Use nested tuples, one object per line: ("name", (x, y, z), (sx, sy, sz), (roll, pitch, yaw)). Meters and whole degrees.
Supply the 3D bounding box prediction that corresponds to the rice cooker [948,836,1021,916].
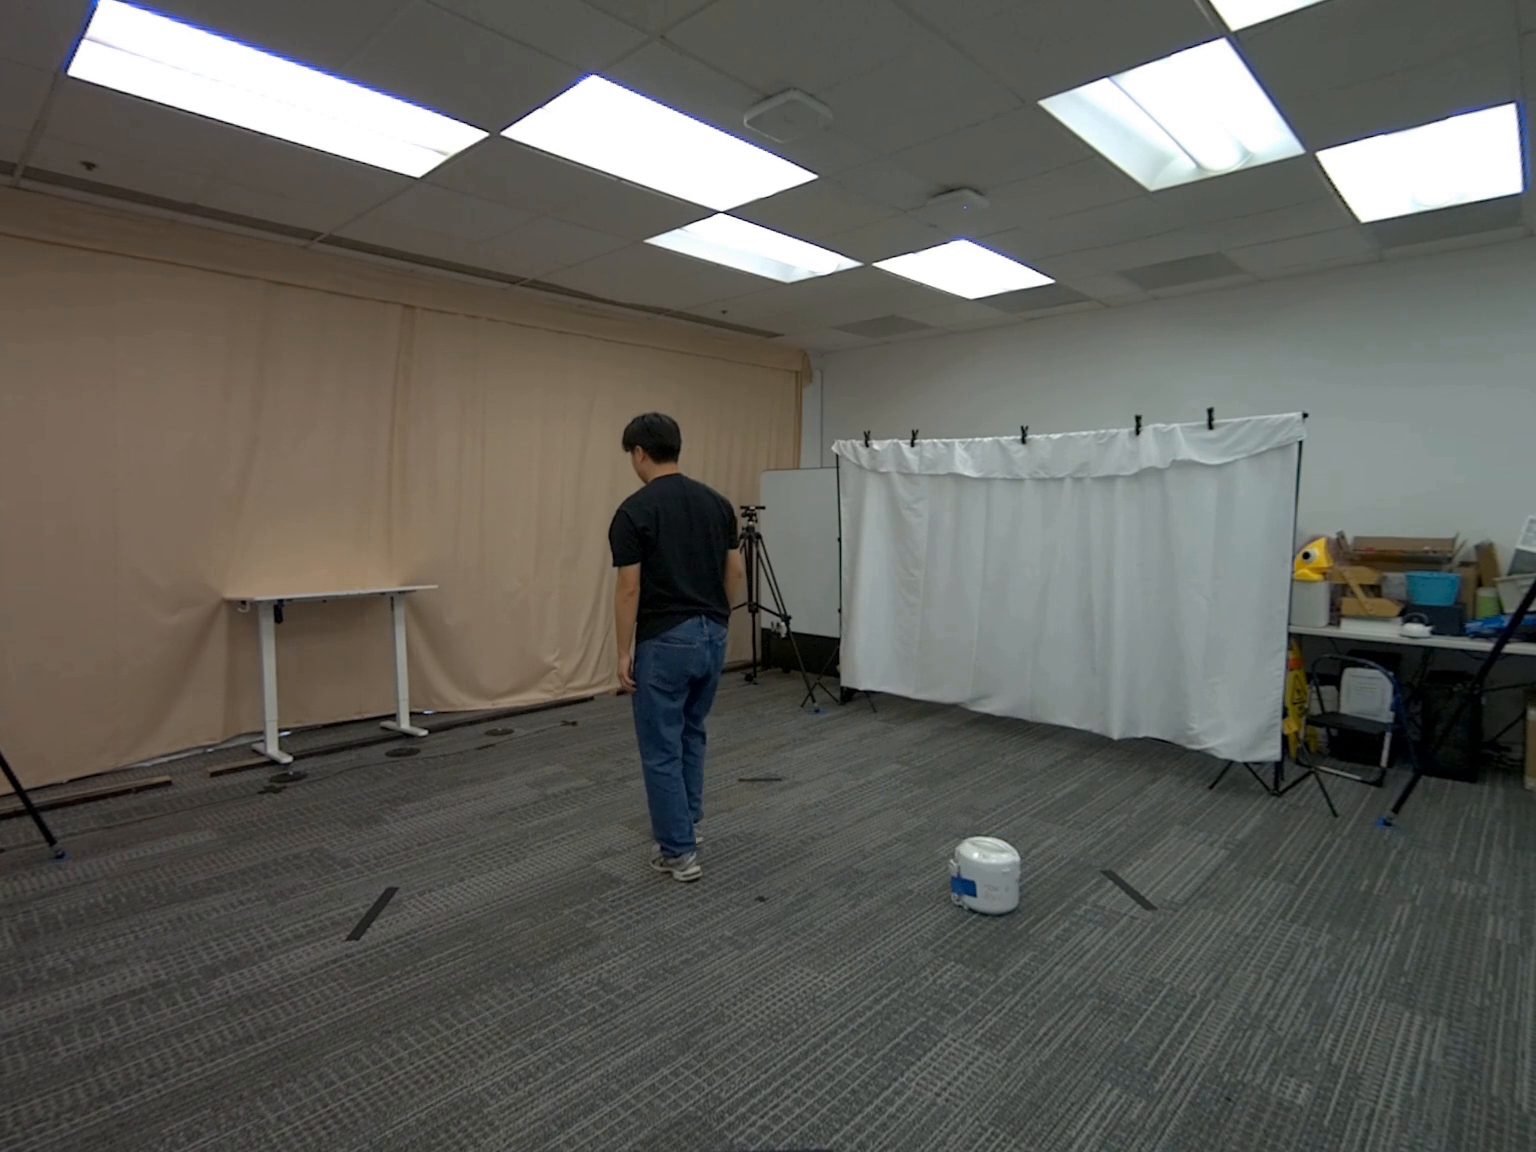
("rice cooker", (0.770, 1.029, 2.933), (0.227, 0.232, 0.211), (3, 5, 34))
